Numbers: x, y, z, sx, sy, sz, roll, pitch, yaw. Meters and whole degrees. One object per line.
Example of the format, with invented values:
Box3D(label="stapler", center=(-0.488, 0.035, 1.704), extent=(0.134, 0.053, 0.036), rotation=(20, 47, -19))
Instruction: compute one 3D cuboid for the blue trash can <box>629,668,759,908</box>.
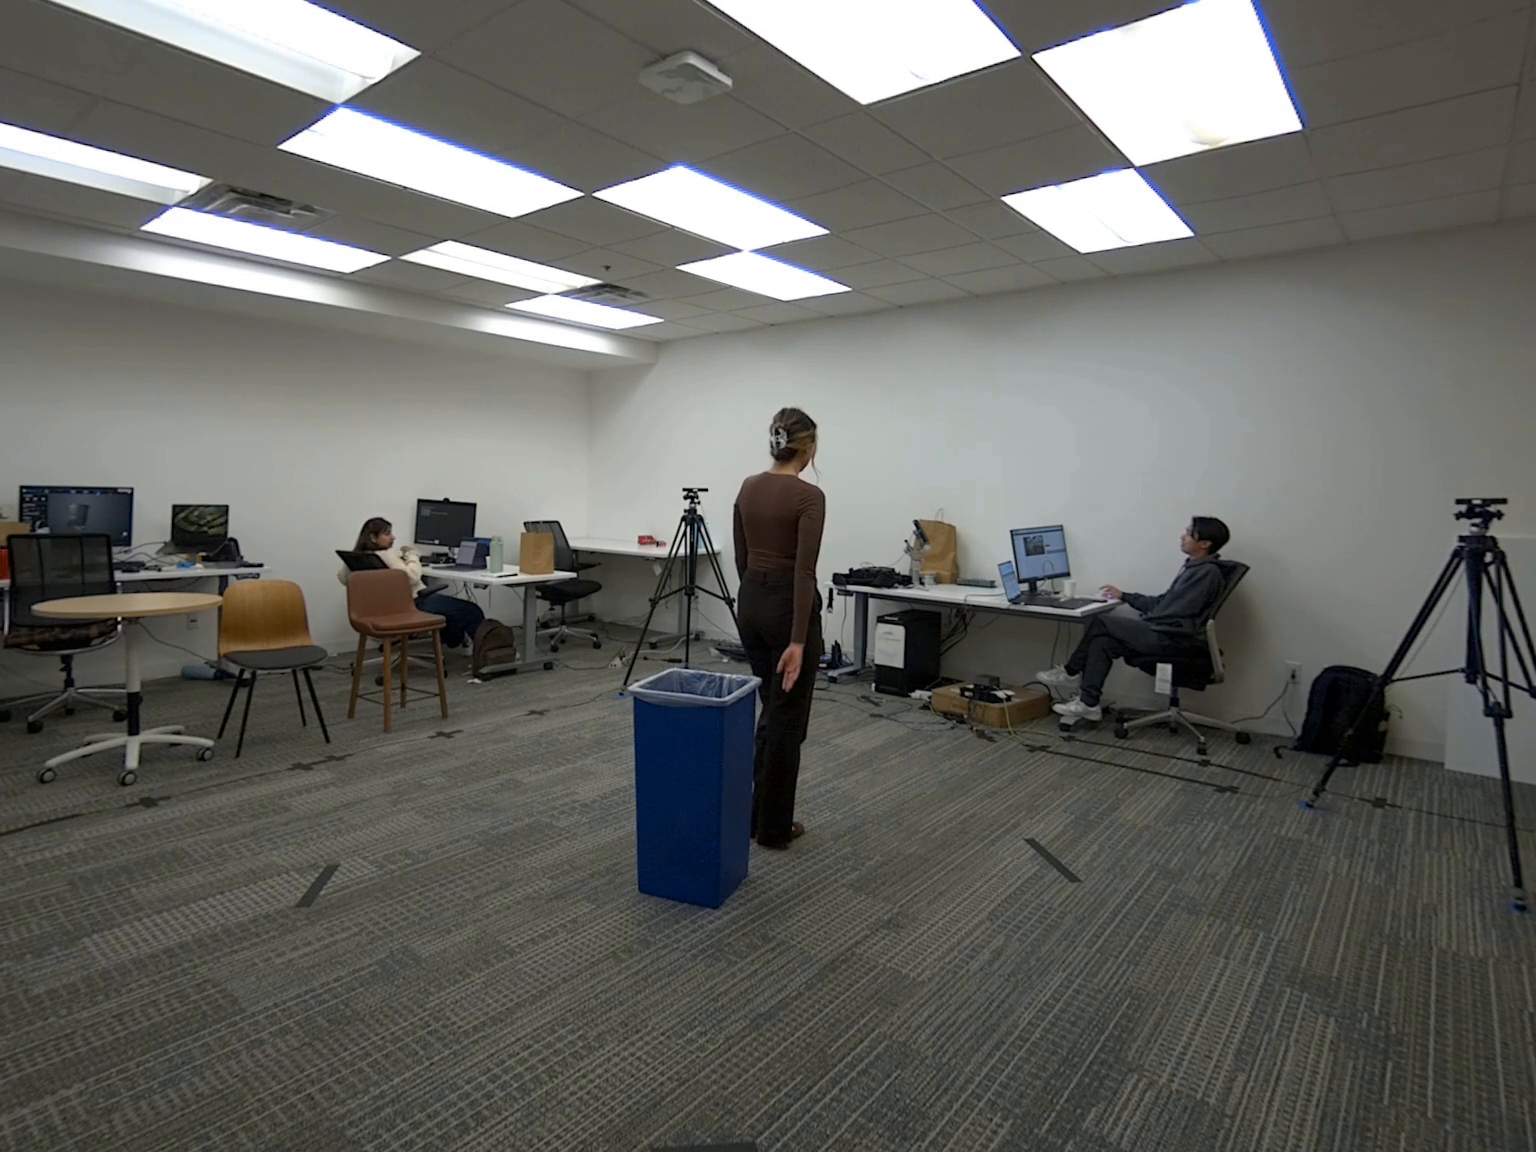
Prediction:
Box3D(label="blue trash can", center=(-0.260, 0.722, 2.985), extent=(0.382, 0.712, 0.371), rotation=(1, 3, 21))
